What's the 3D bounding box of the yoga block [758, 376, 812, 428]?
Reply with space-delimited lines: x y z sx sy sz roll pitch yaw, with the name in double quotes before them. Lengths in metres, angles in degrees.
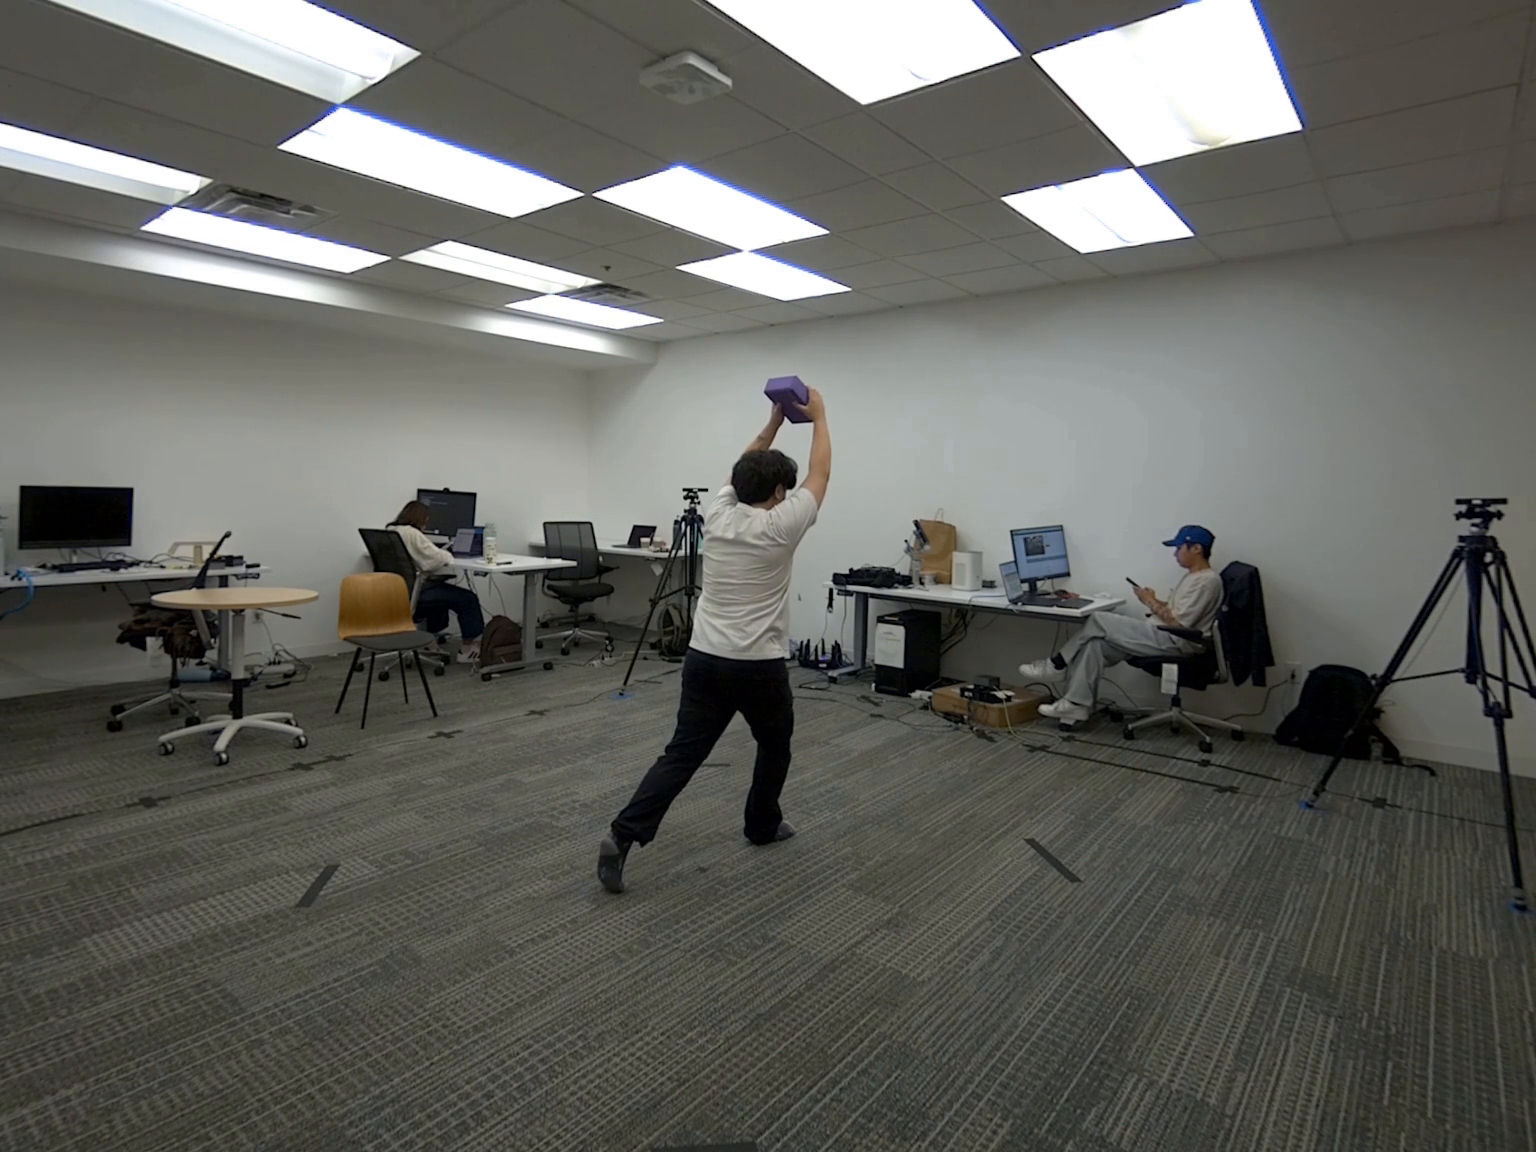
"yoga block" 0.090 -0.709 3.430 0.154 0.077 0.220 3 -26 40
